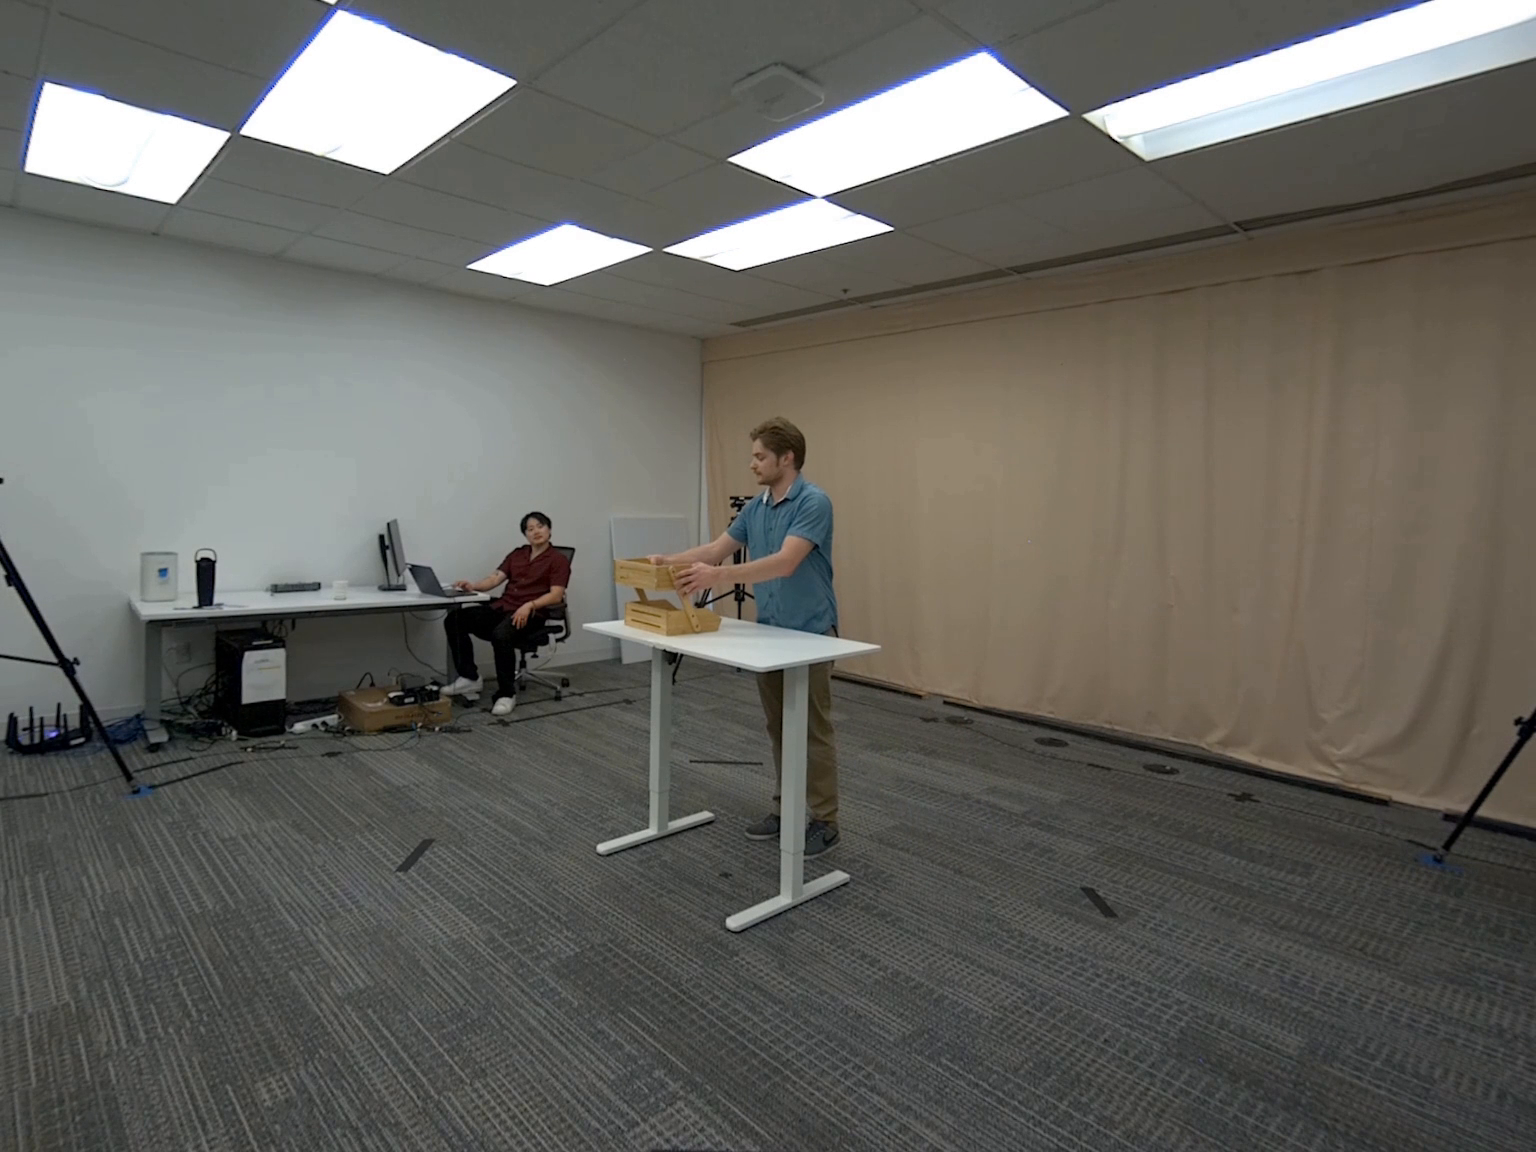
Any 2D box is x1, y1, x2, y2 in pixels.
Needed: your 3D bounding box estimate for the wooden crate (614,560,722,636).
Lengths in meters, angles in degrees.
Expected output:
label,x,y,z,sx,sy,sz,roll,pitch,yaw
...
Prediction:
label,x,y,z,sx,sy,sz,roll,pitch,yaw
wooden crate,-0.390,0.072,3.236,0.295,0.272,0.333,-4,7,-40
